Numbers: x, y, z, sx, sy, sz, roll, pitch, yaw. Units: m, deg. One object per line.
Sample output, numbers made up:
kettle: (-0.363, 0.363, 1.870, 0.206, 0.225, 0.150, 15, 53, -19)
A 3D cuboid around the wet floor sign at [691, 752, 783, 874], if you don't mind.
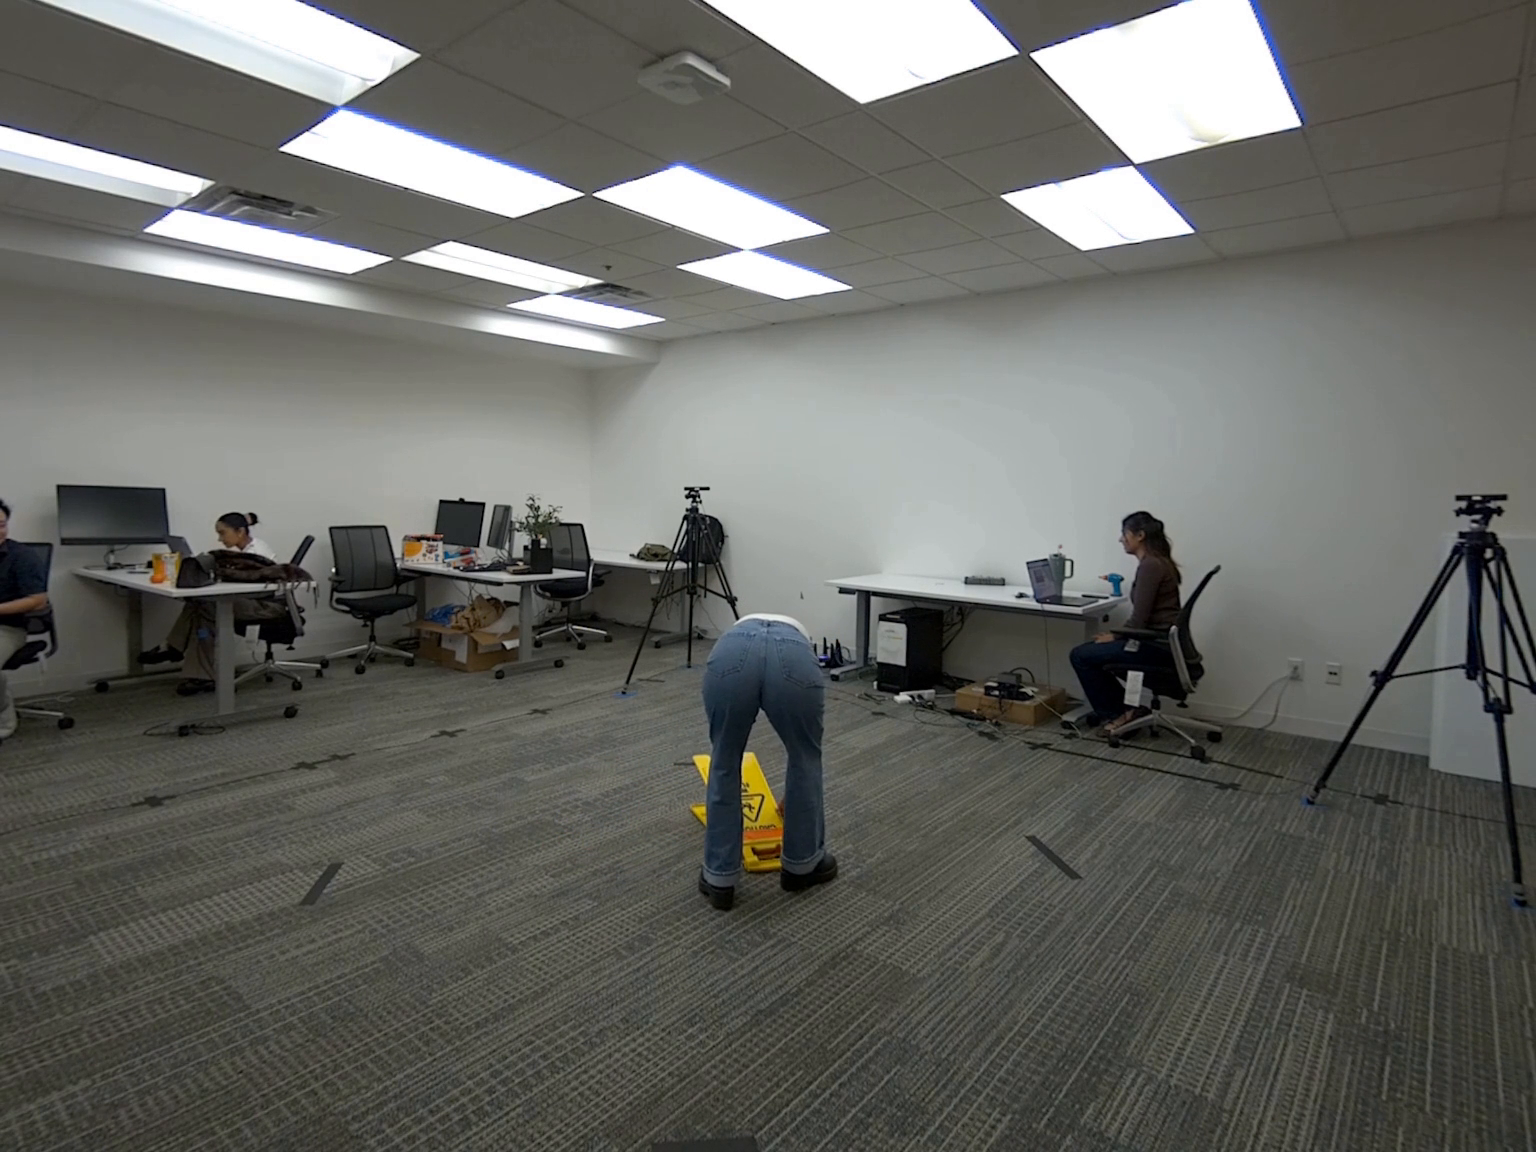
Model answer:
wet floor sign: (-0.098, 0.964, 3.390, 0.277, 0.286, 0.666, -1, 14, -21)
